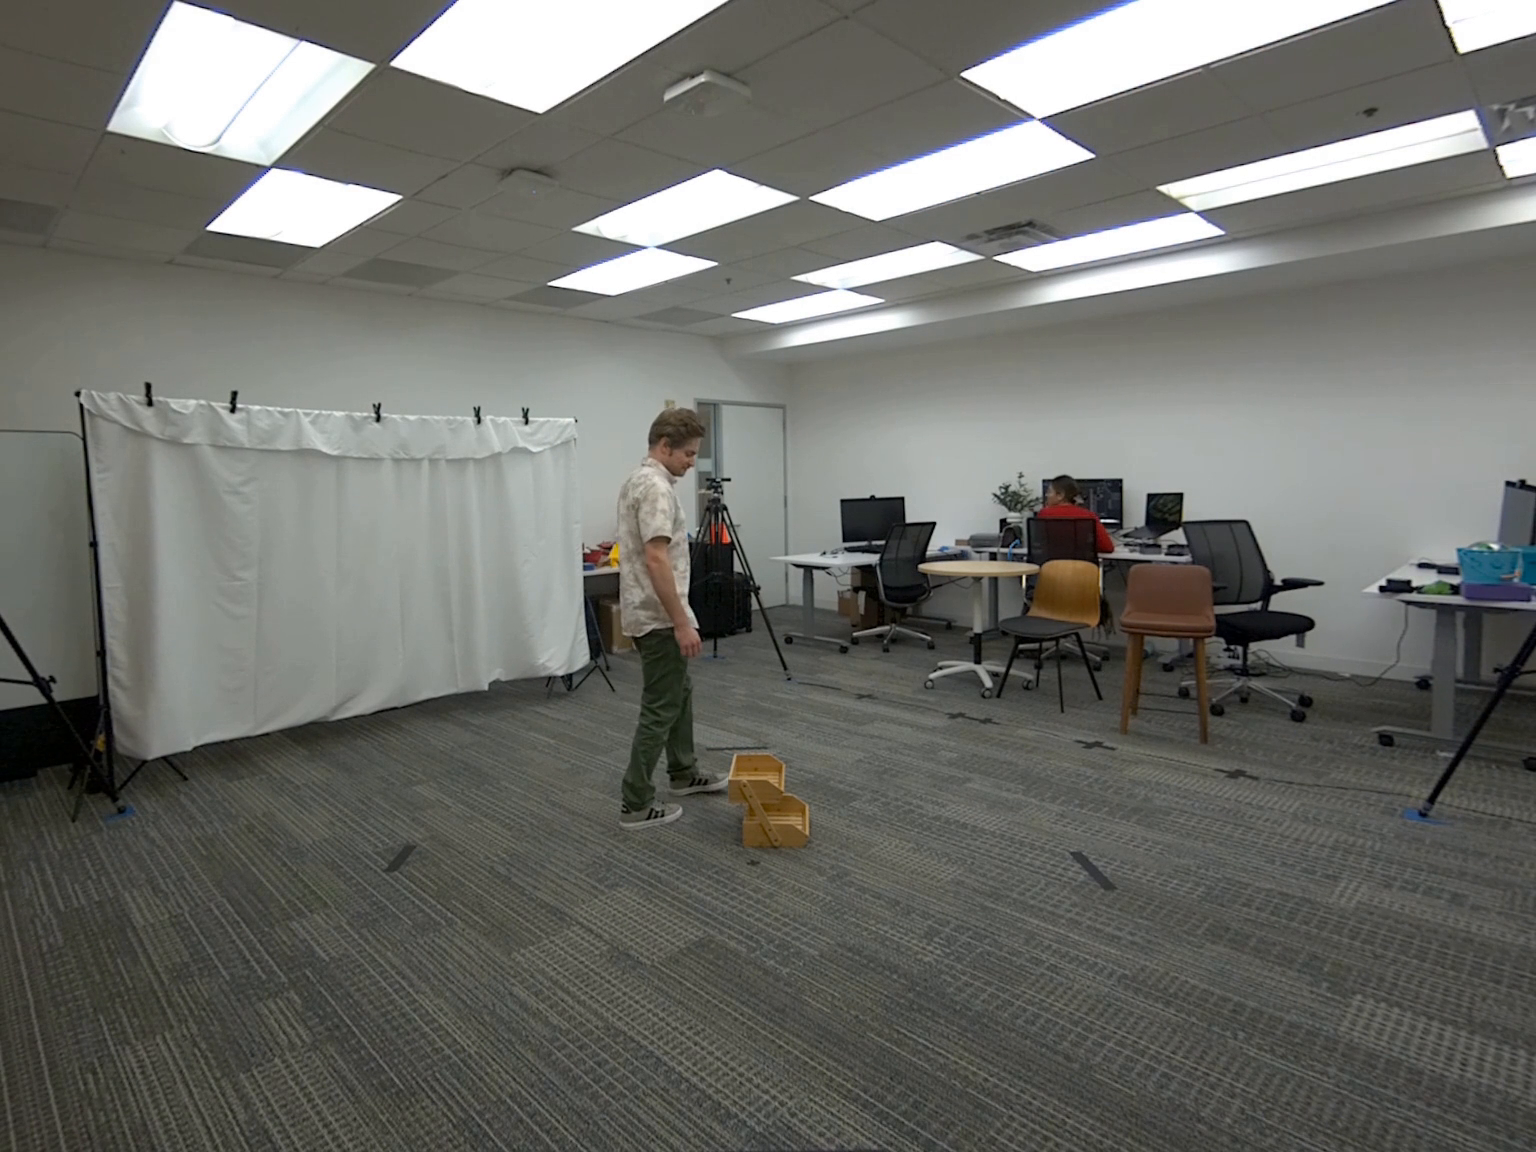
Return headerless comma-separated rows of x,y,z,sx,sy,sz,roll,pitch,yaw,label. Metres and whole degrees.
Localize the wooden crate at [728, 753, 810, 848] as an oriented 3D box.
0.015,0.880,3.380,0.303,0.272,0.324,0,5,3,wooden crate
